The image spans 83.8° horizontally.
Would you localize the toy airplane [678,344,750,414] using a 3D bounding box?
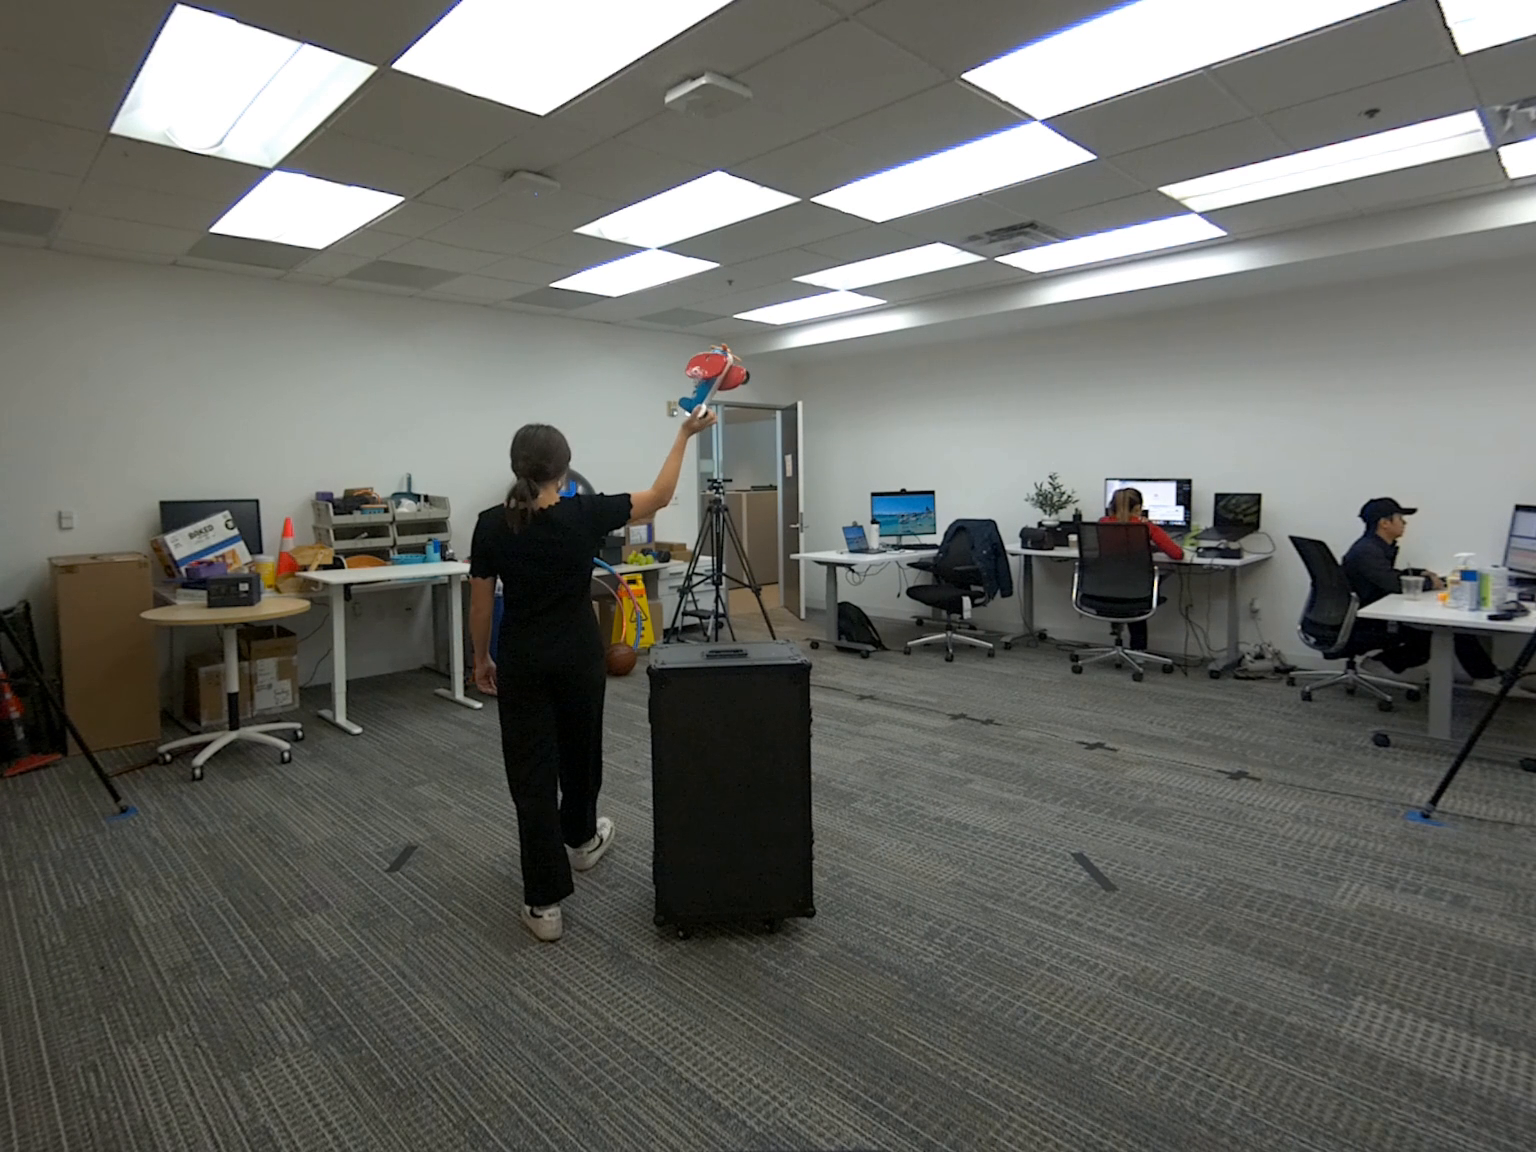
[{"bbox_3d":[-0.177,-0.649,2.883,0.256,0.262,0.151,-15,-49,40],"label":"toy airplane"}]
